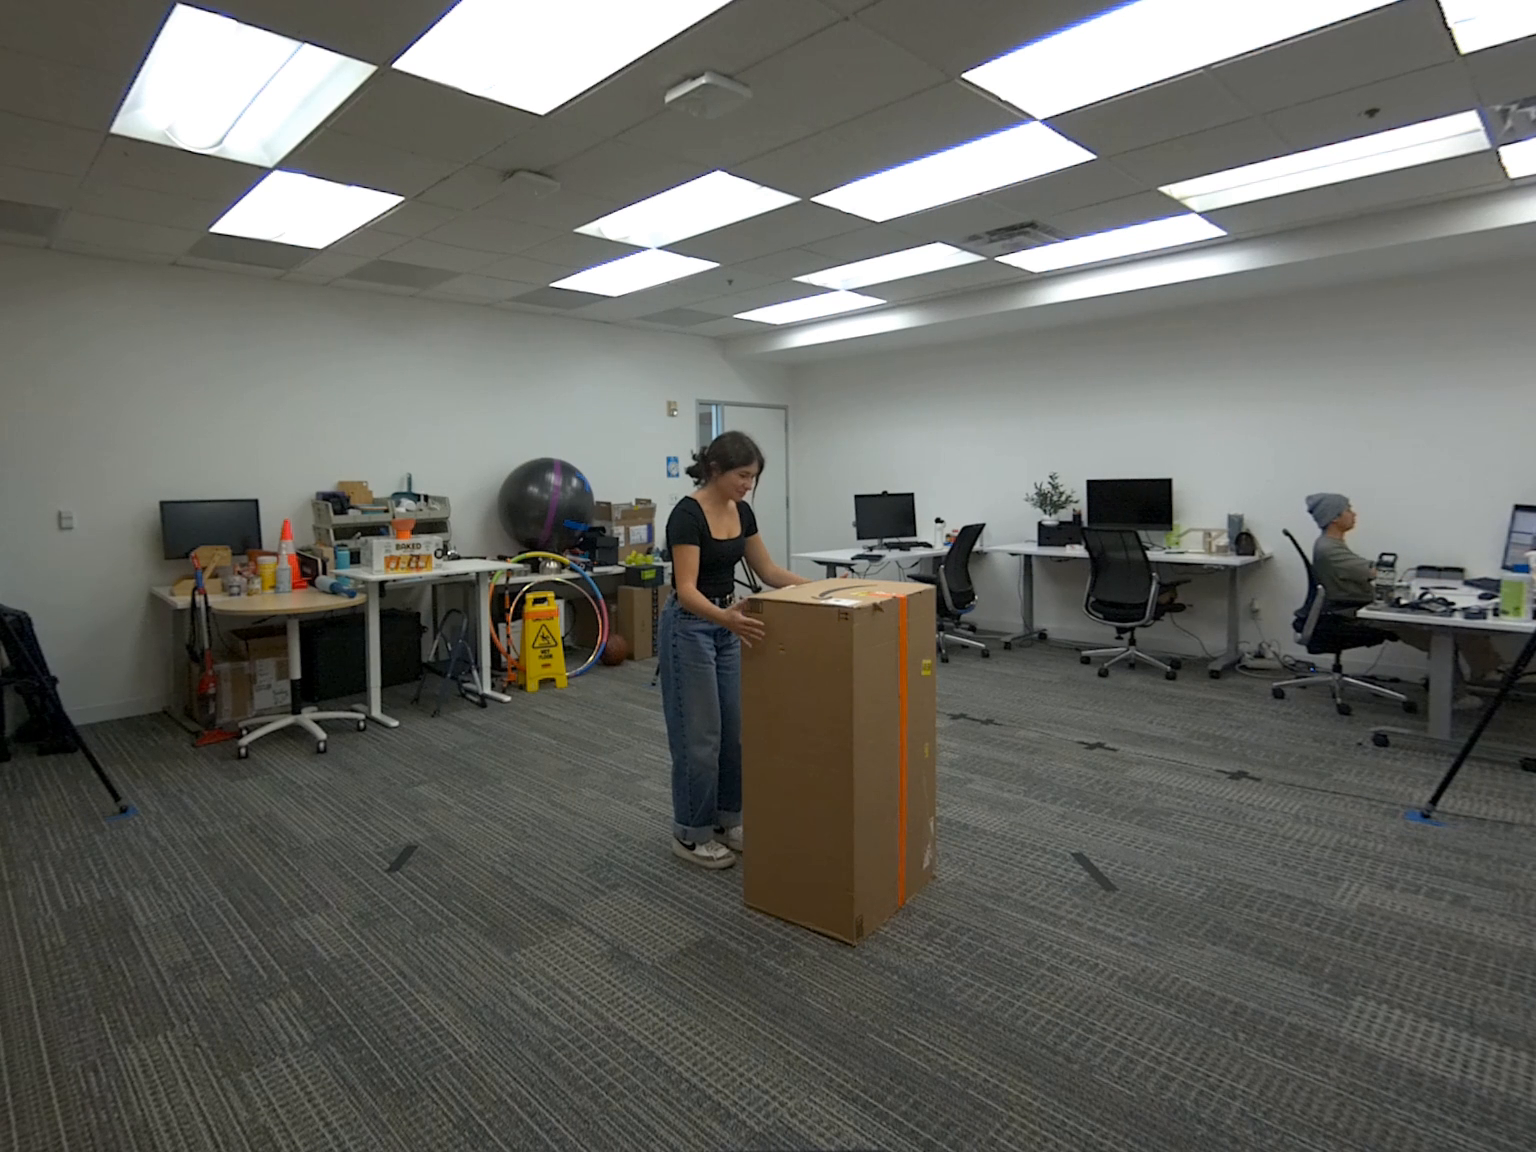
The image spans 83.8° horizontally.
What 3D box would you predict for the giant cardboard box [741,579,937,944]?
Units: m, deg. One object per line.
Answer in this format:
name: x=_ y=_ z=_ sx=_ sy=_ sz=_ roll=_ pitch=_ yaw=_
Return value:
giant cardboard box: x=0.252 y=0.560 z=2.854 sx=0.439 sy=1.022 sz=0.563 roll=2 pitch=5 yaw=37
